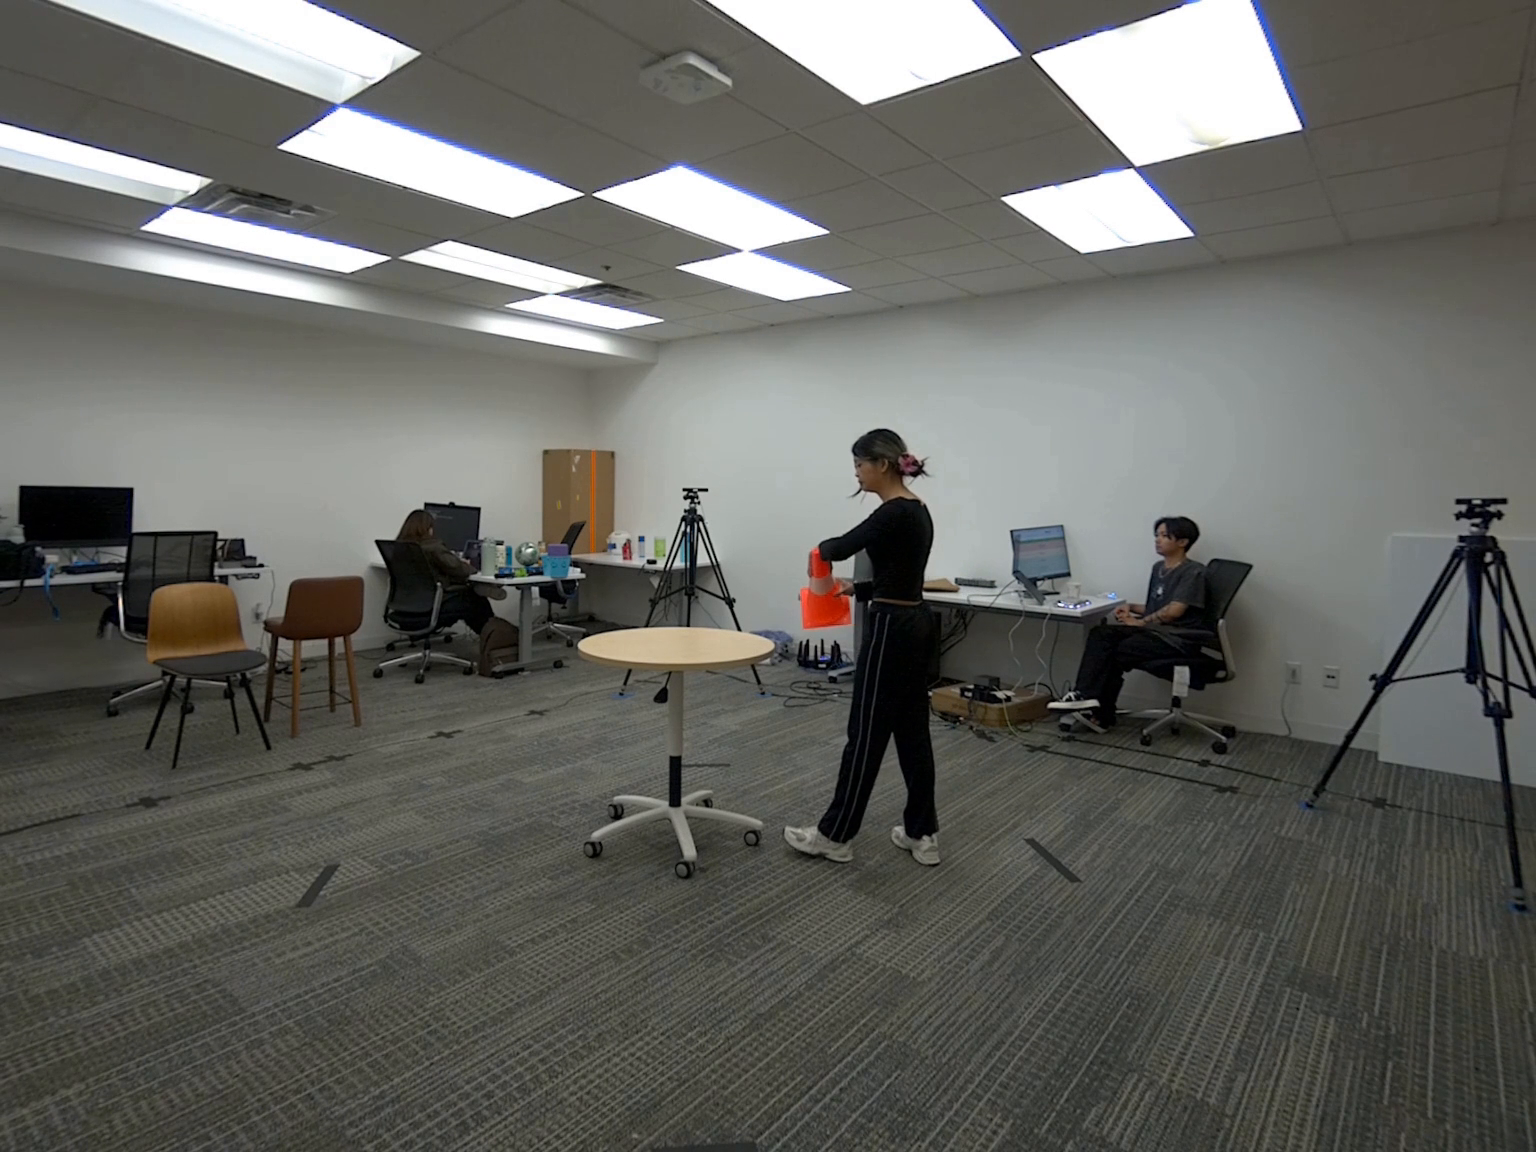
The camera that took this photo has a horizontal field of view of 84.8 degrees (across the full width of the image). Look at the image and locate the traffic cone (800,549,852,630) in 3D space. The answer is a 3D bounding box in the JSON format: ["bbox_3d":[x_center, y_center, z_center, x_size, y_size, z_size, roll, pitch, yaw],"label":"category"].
[{"bbox_3d":[0.191,0.013,3.363,0.205,0.211,0.370,-5,-39,6],"label":"traffic cone"}]
